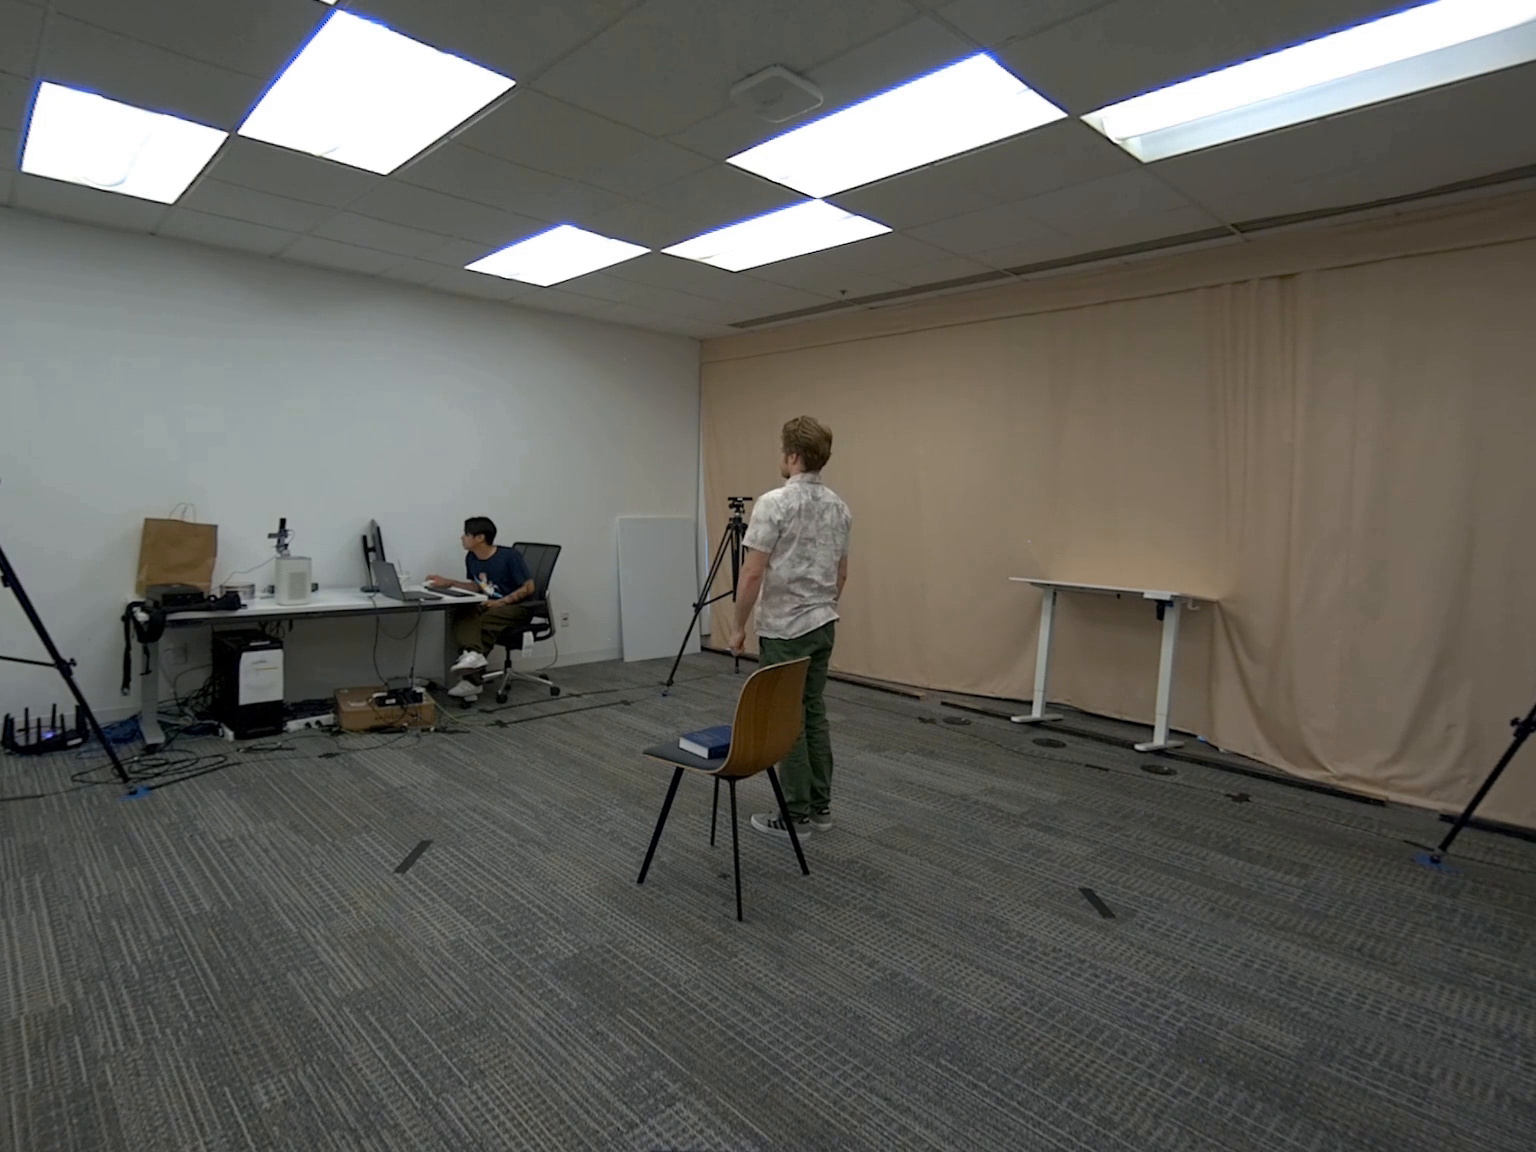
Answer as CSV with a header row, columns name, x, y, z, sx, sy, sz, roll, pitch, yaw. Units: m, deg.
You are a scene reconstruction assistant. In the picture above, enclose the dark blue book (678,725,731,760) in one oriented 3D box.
name,x,y,z,sx,sy,sz,roll,pitch,yaw
dark blue book,-0.184,0.602,3.065,0.168,0.045,0.239,10,9,43
